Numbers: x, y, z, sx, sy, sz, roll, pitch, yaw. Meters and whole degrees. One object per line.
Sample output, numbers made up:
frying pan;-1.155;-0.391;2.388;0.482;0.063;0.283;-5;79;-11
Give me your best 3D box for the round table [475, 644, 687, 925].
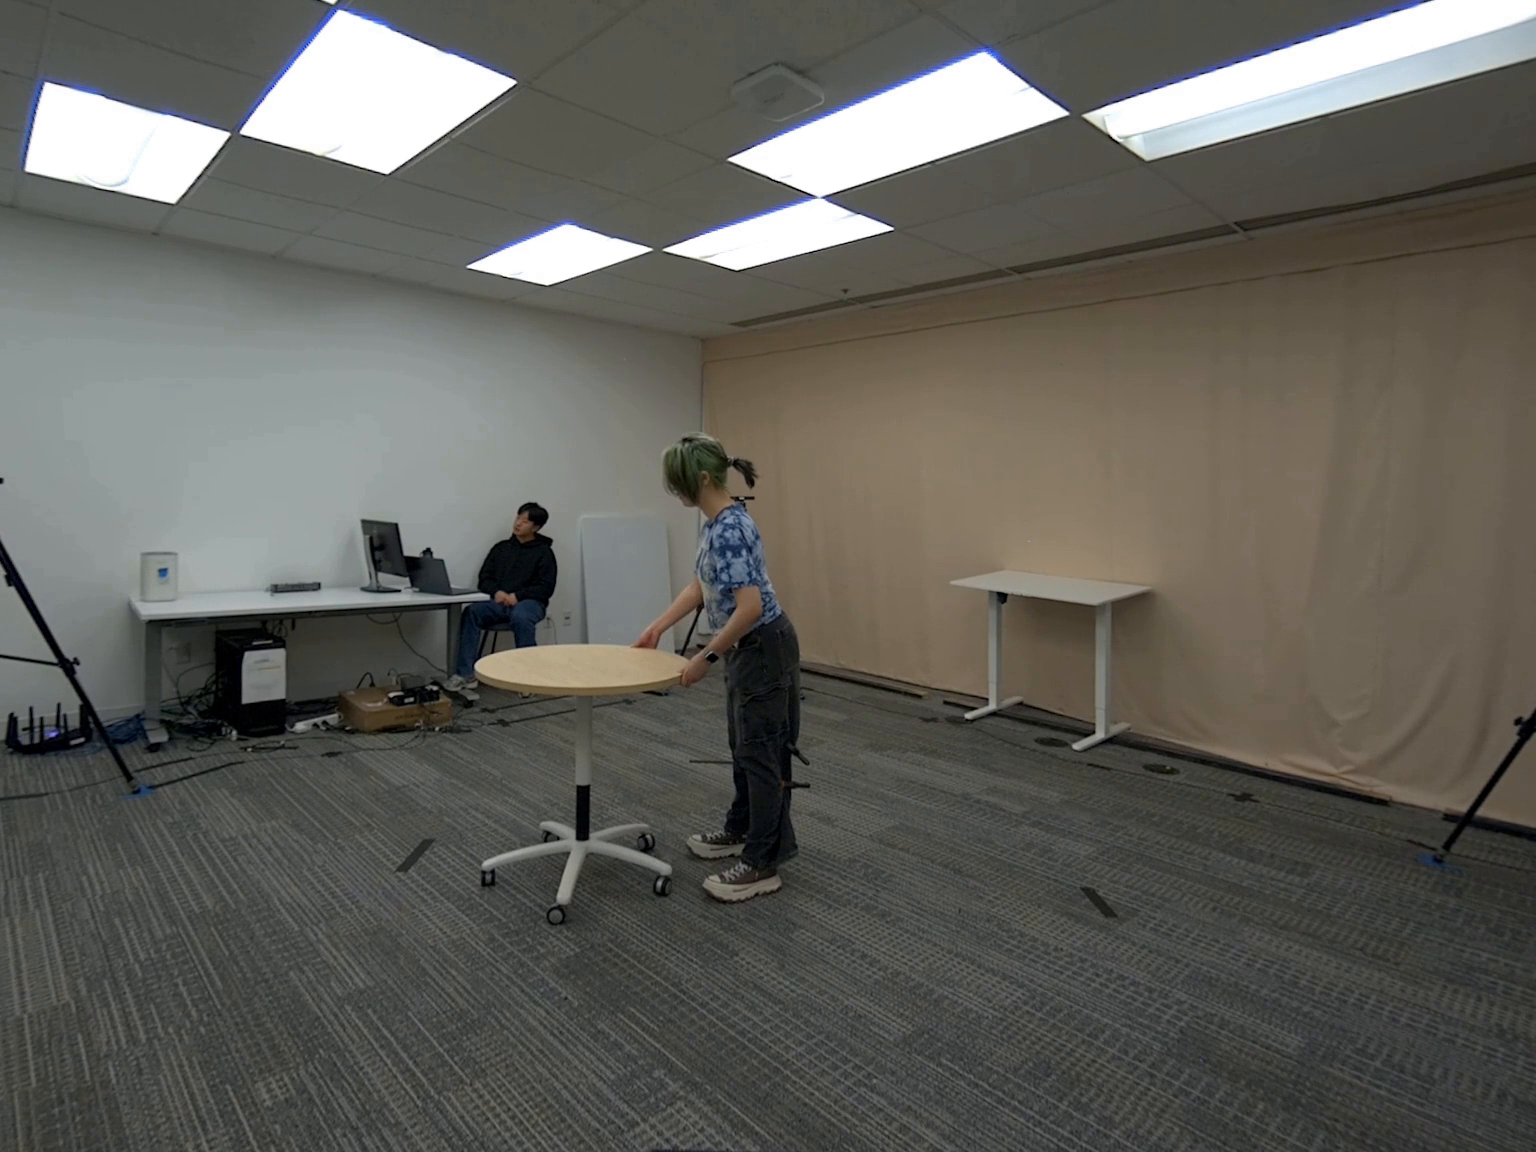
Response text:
round table;-0.672;0.707;3.046;0.763;0.792;0.766;2;4;-1
